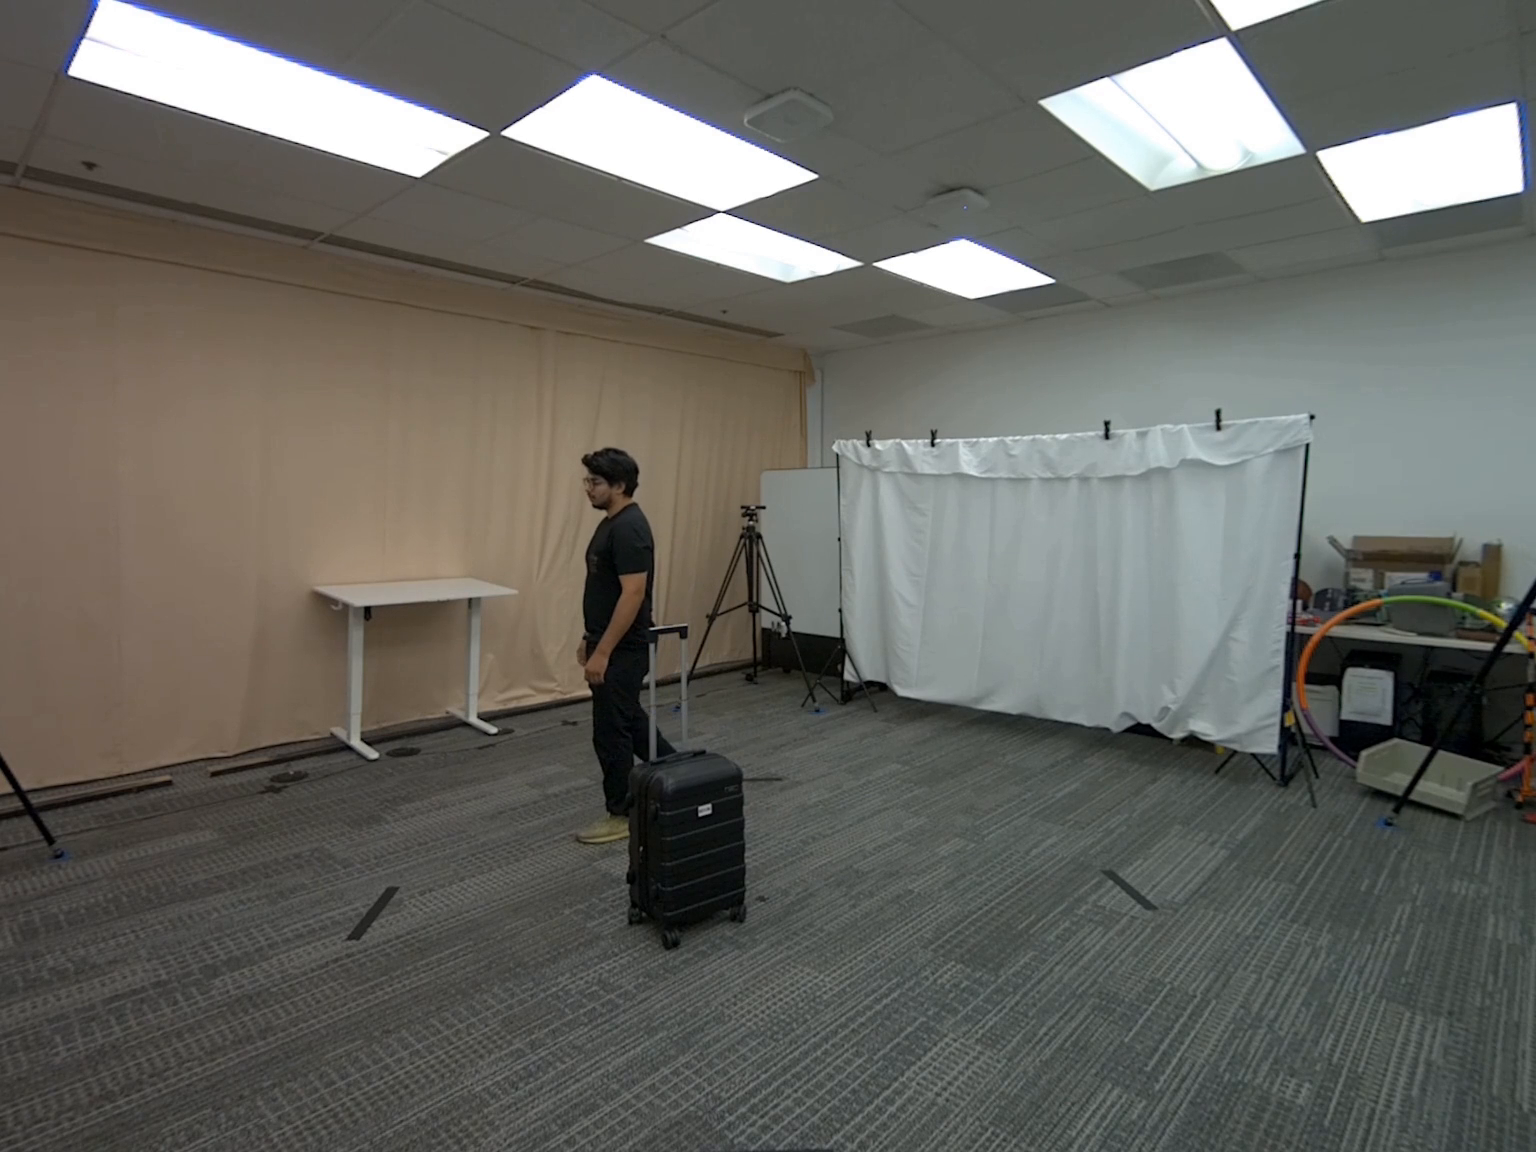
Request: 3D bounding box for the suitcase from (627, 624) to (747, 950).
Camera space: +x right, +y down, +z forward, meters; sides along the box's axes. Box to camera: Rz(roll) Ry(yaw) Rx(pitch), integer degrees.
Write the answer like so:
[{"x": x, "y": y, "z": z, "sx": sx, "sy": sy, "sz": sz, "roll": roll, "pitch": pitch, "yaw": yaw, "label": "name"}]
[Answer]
[{"x": -0.269, "y": 0.680, "z": 2.815, "sx": 0.372, "sy": 0.976, "sz": 0.265, "roll": -3, "pitch": 4, "yaw": -38, "label": "suitcase"}]
